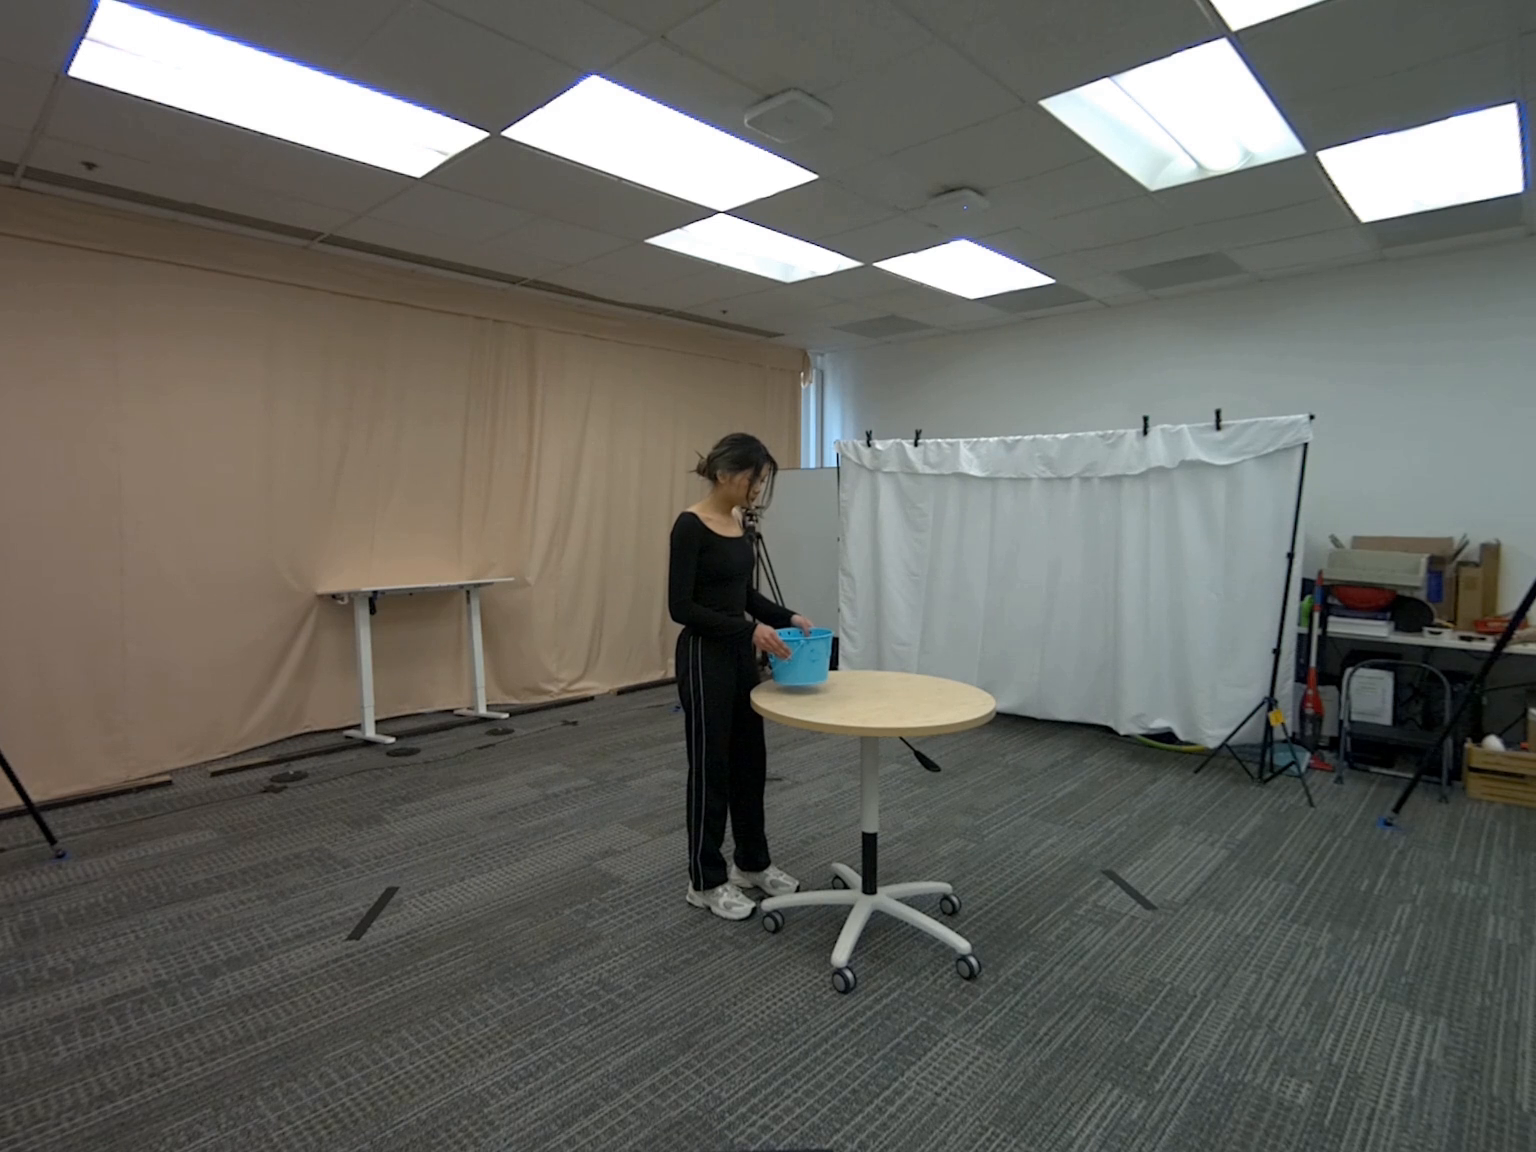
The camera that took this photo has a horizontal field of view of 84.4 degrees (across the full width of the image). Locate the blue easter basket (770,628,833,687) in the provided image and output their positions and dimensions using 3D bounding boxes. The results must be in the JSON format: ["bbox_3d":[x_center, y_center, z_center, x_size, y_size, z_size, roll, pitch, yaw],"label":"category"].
[{"bbox_3d":[0.094,0.267,2.759,0.243,0.155,0.244,-2,3,-2],"label":"blue easter basket"}]
